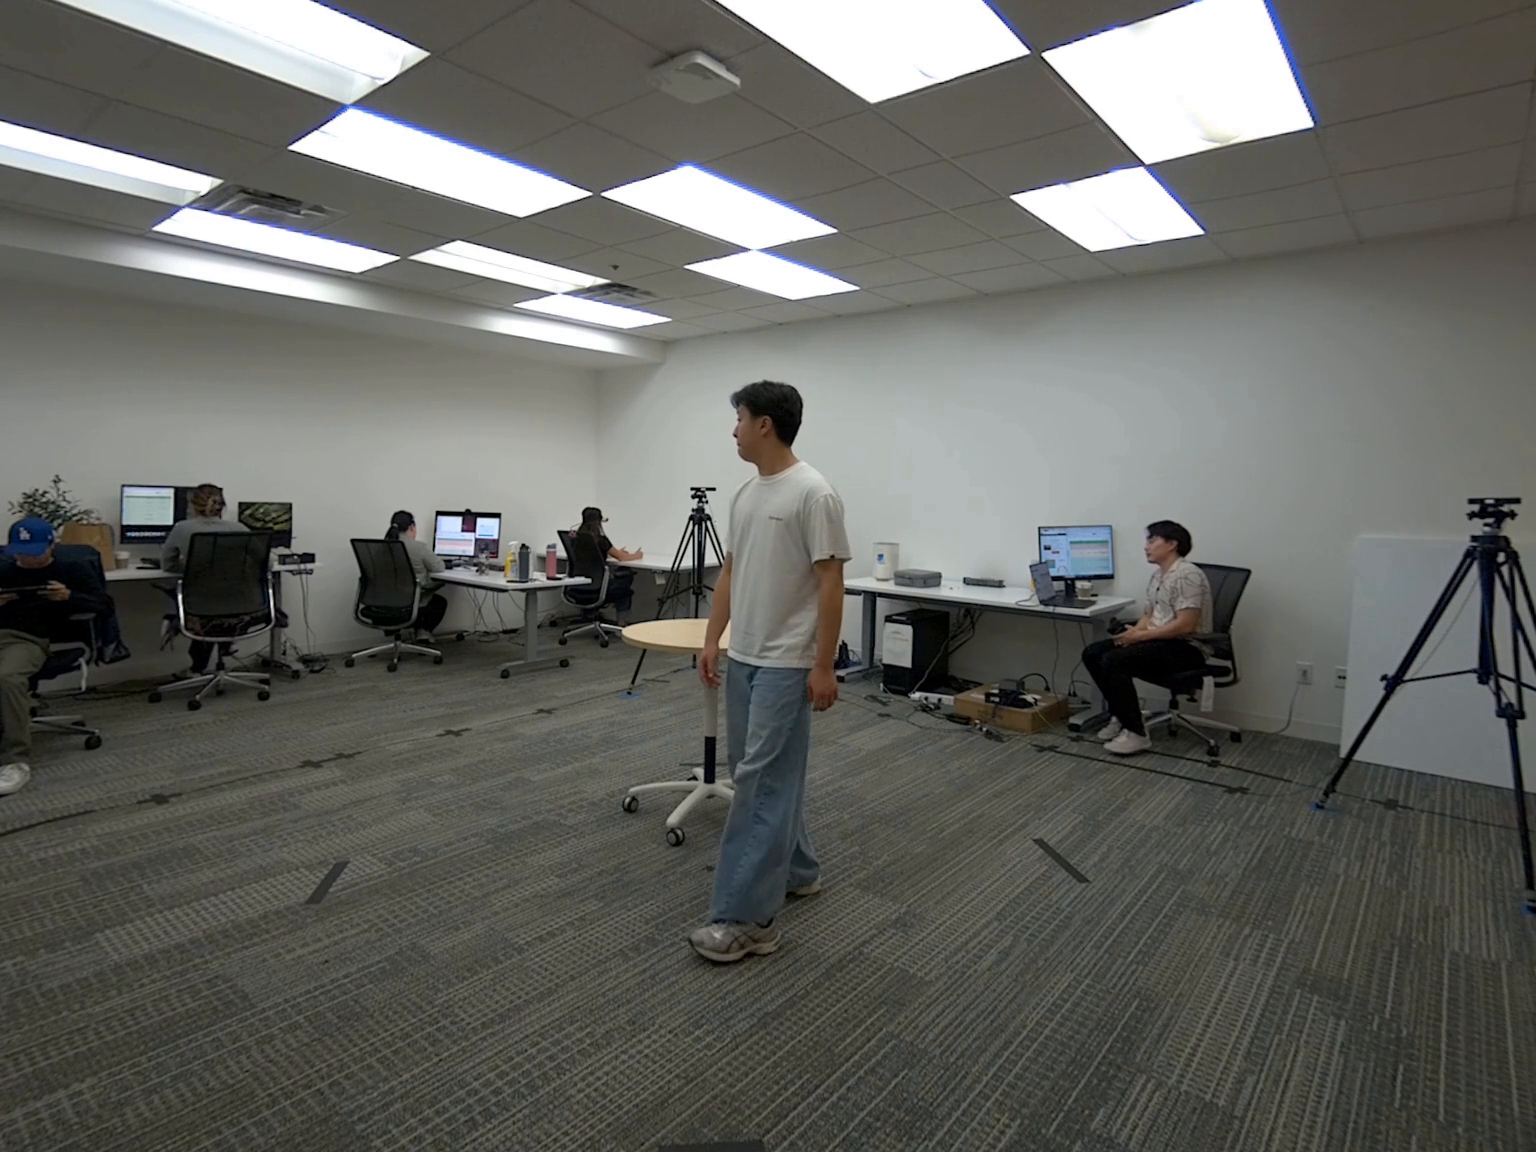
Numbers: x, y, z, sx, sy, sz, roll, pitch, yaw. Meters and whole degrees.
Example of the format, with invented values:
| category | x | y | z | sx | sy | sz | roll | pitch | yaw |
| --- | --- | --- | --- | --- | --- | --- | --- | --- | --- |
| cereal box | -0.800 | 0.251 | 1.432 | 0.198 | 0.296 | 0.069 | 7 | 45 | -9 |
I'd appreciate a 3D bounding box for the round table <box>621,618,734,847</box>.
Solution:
| category | x | y | z | sx | sy | sz | roll | pitch | yaw |
| --- | --- | --- | --- | --- | --- | --- | --- | --- | --- |
| round table | -0.245 | 0.622 | 3.610 | 0.784 | 0.784 | 0.789 | 1 | 4 | -2 |
